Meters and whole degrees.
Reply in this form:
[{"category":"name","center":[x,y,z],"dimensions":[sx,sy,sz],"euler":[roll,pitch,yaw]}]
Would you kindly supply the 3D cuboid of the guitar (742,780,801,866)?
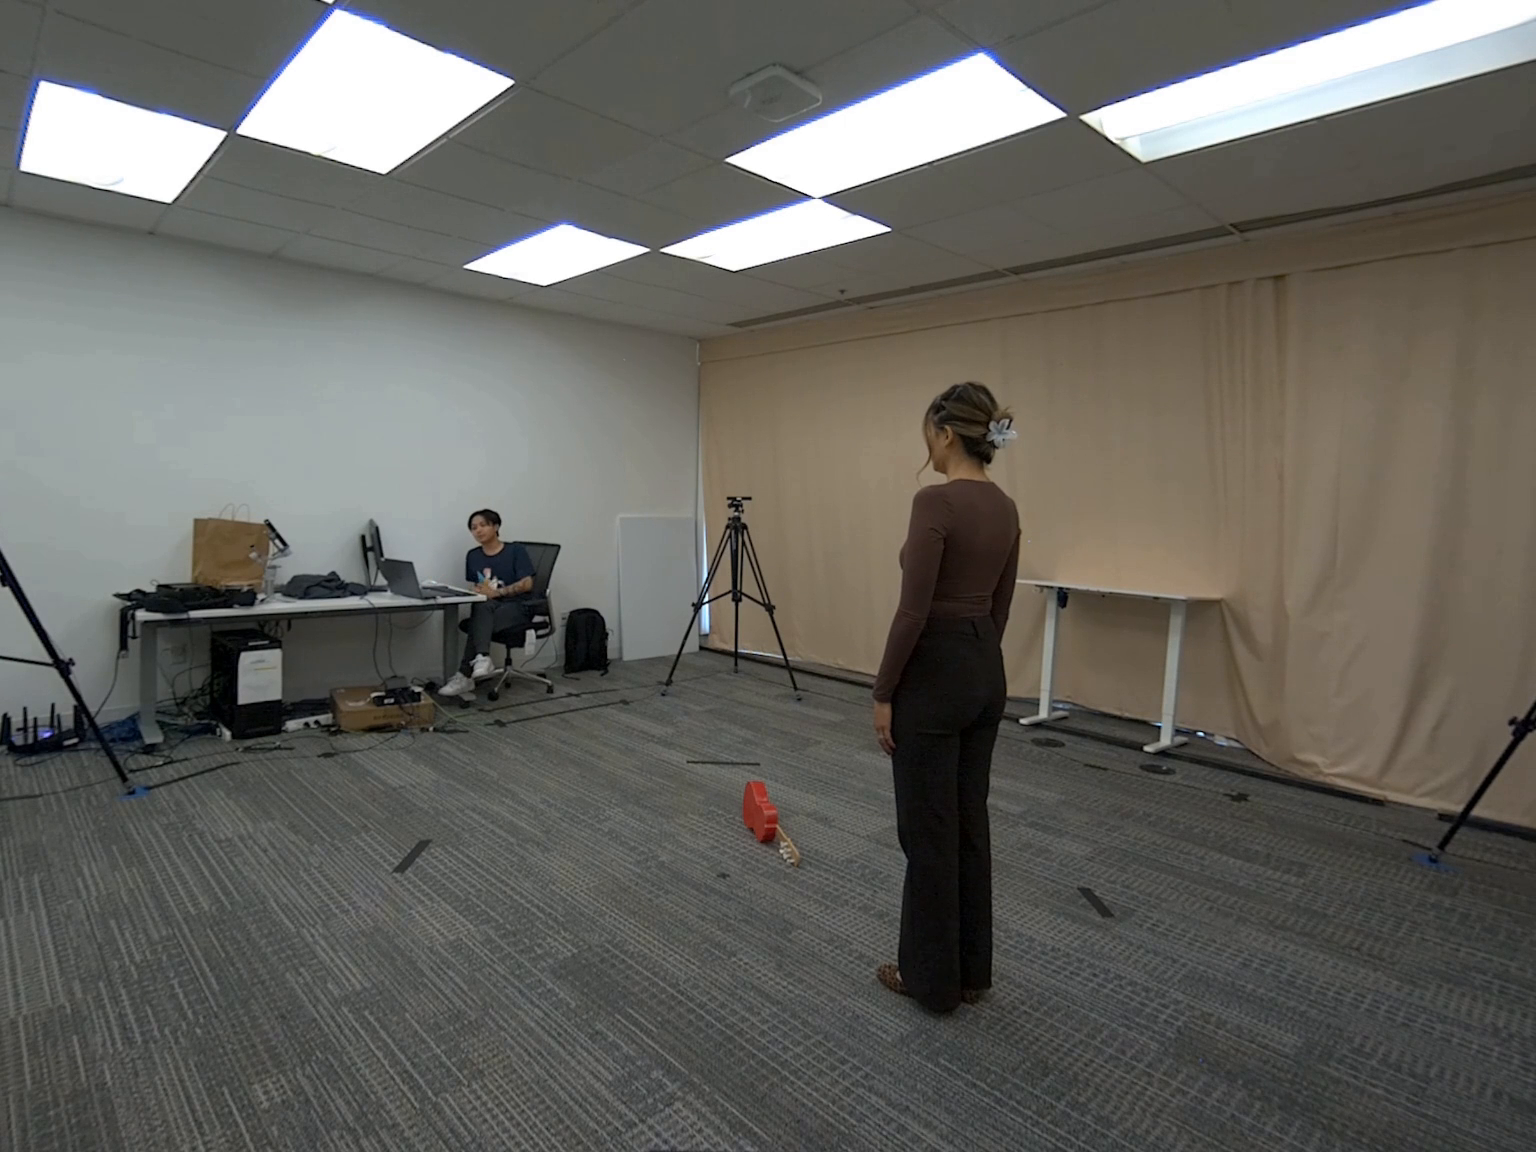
[{"category":"guitar","center":[0.004,0.988,3.405],"dimensions":[0.069,0.192,0.507],"euler":[4,4,-20]}]
